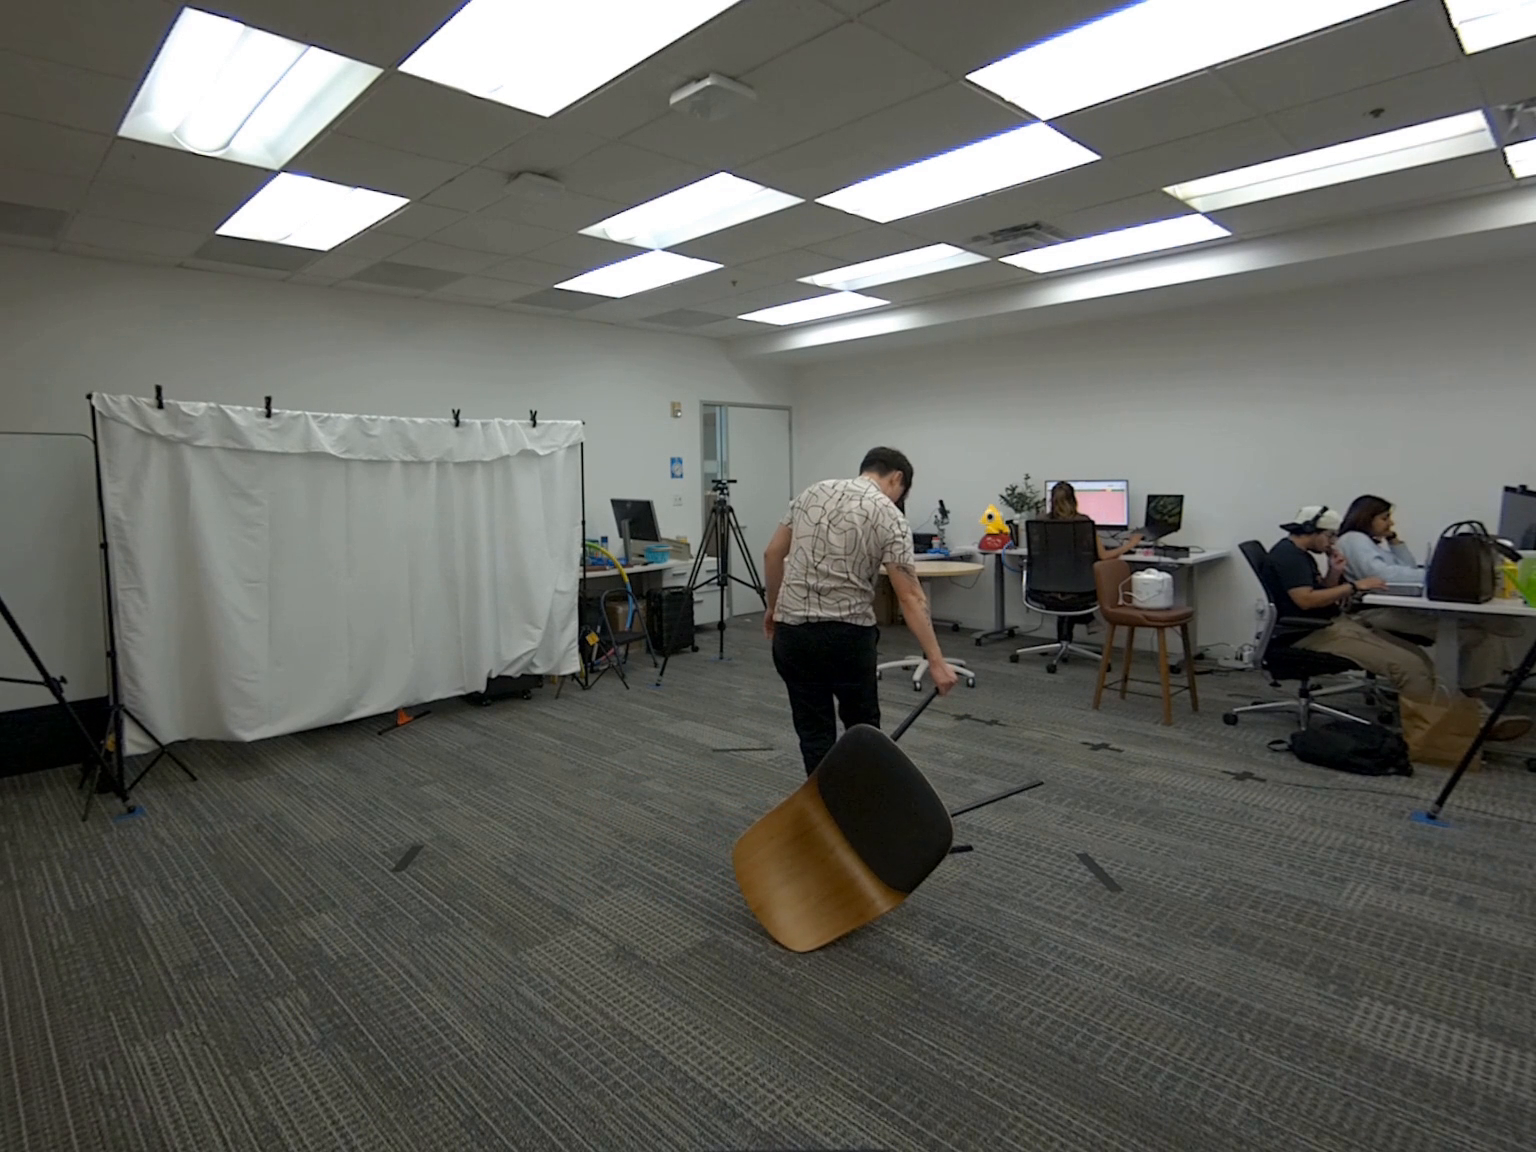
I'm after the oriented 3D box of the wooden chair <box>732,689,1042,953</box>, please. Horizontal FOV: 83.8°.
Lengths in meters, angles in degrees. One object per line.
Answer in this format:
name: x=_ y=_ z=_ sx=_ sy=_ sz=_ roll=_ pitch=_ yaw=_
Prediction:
wooden chair: x=0.361 y=0.749 z=2.700 sx=0.861 sy=0.516 sz=0.494 roll=-18 pitch=57 yaw=-35
